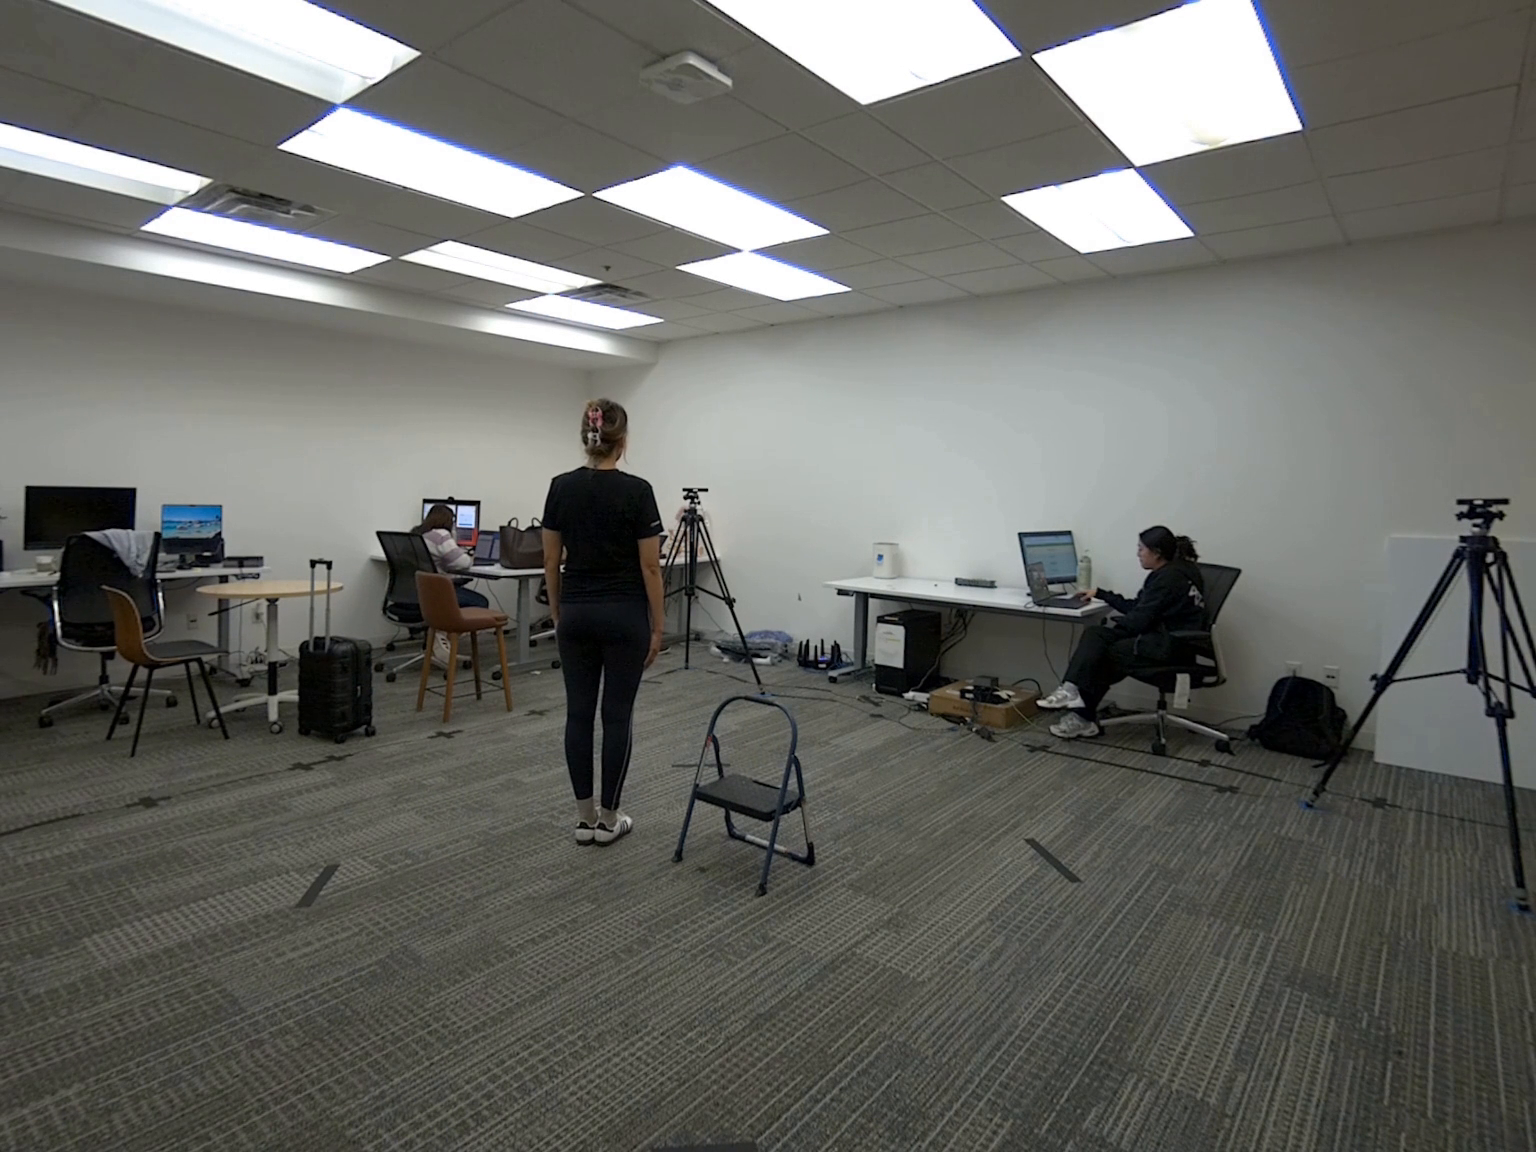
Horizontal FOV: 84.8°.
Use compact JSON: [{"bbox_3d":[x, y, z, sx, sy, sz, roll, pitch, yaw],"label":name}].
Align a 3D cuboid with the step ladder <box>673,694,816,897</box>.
[{"bbox_3d":[-0.087,0.762,3.158,0.445,0.604,0.339,4,5,38],"label":"step ladder"}]
